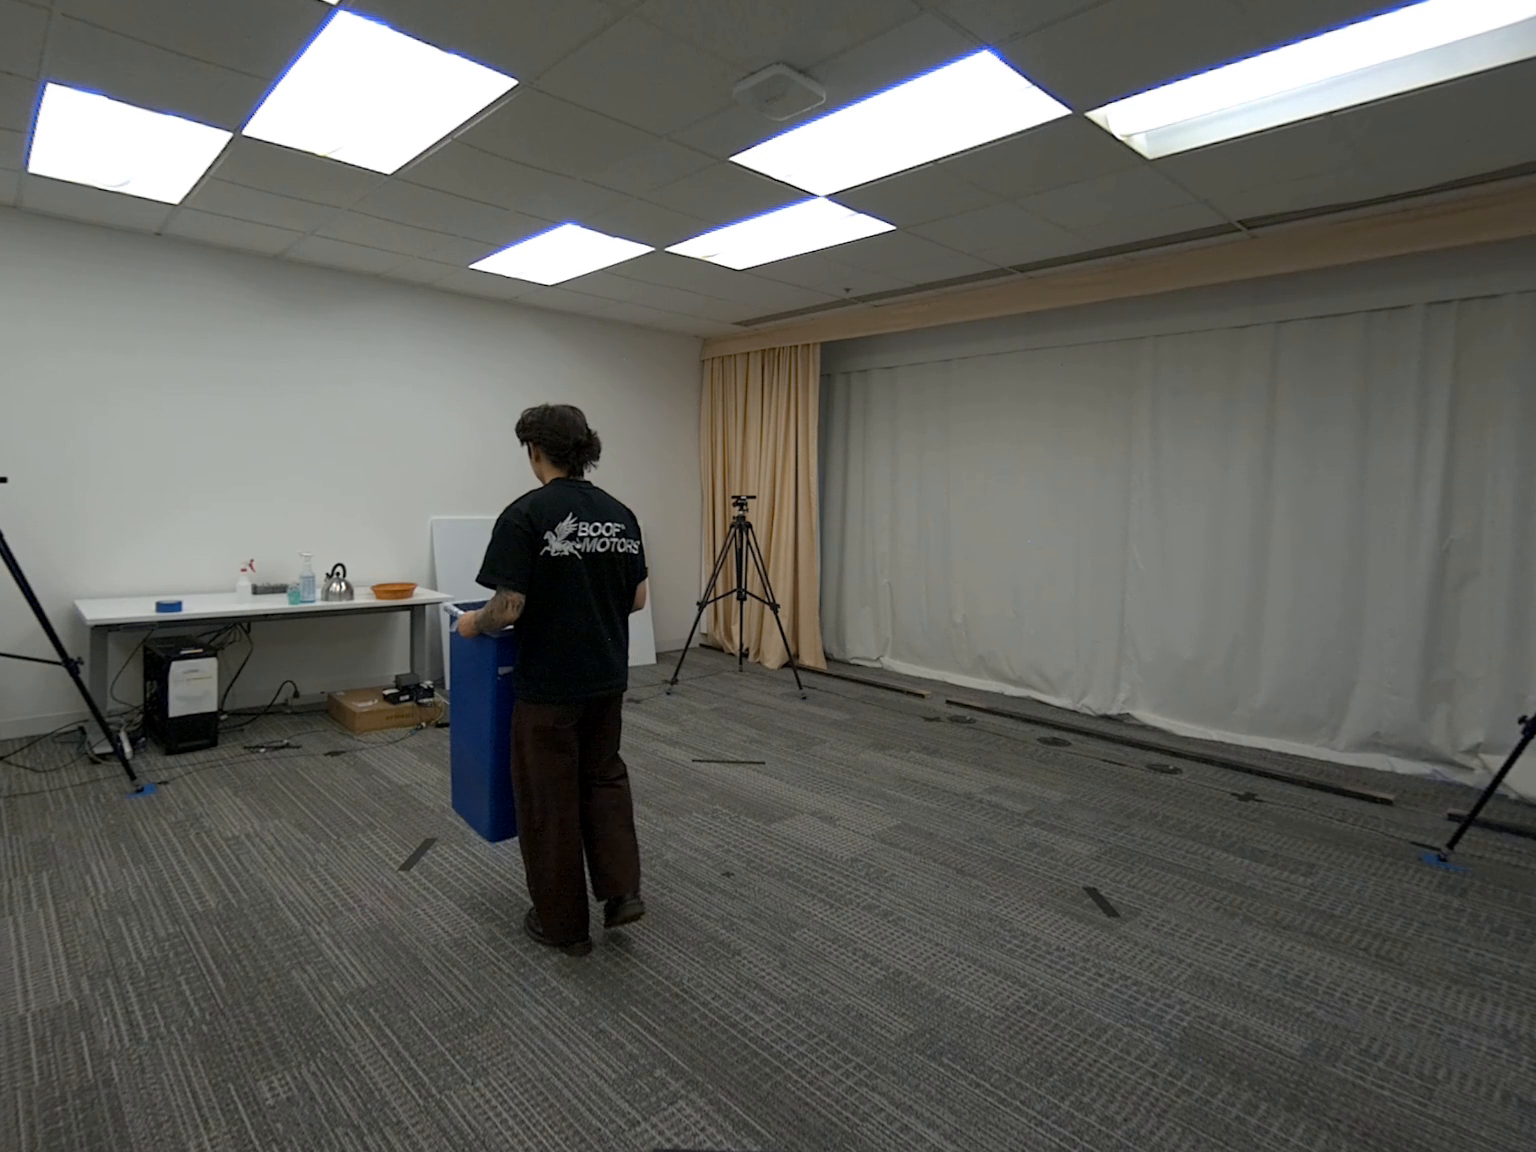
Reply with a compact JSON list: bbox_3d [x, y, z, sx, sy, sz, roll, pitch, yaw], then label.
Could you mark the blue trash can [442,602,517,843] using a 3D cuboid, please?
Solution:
[{"bbox_3d":[-0.852,0.465,2.811,0.366,0.709,0.389,-6,14,-45],"label":"blue trash can"}]
